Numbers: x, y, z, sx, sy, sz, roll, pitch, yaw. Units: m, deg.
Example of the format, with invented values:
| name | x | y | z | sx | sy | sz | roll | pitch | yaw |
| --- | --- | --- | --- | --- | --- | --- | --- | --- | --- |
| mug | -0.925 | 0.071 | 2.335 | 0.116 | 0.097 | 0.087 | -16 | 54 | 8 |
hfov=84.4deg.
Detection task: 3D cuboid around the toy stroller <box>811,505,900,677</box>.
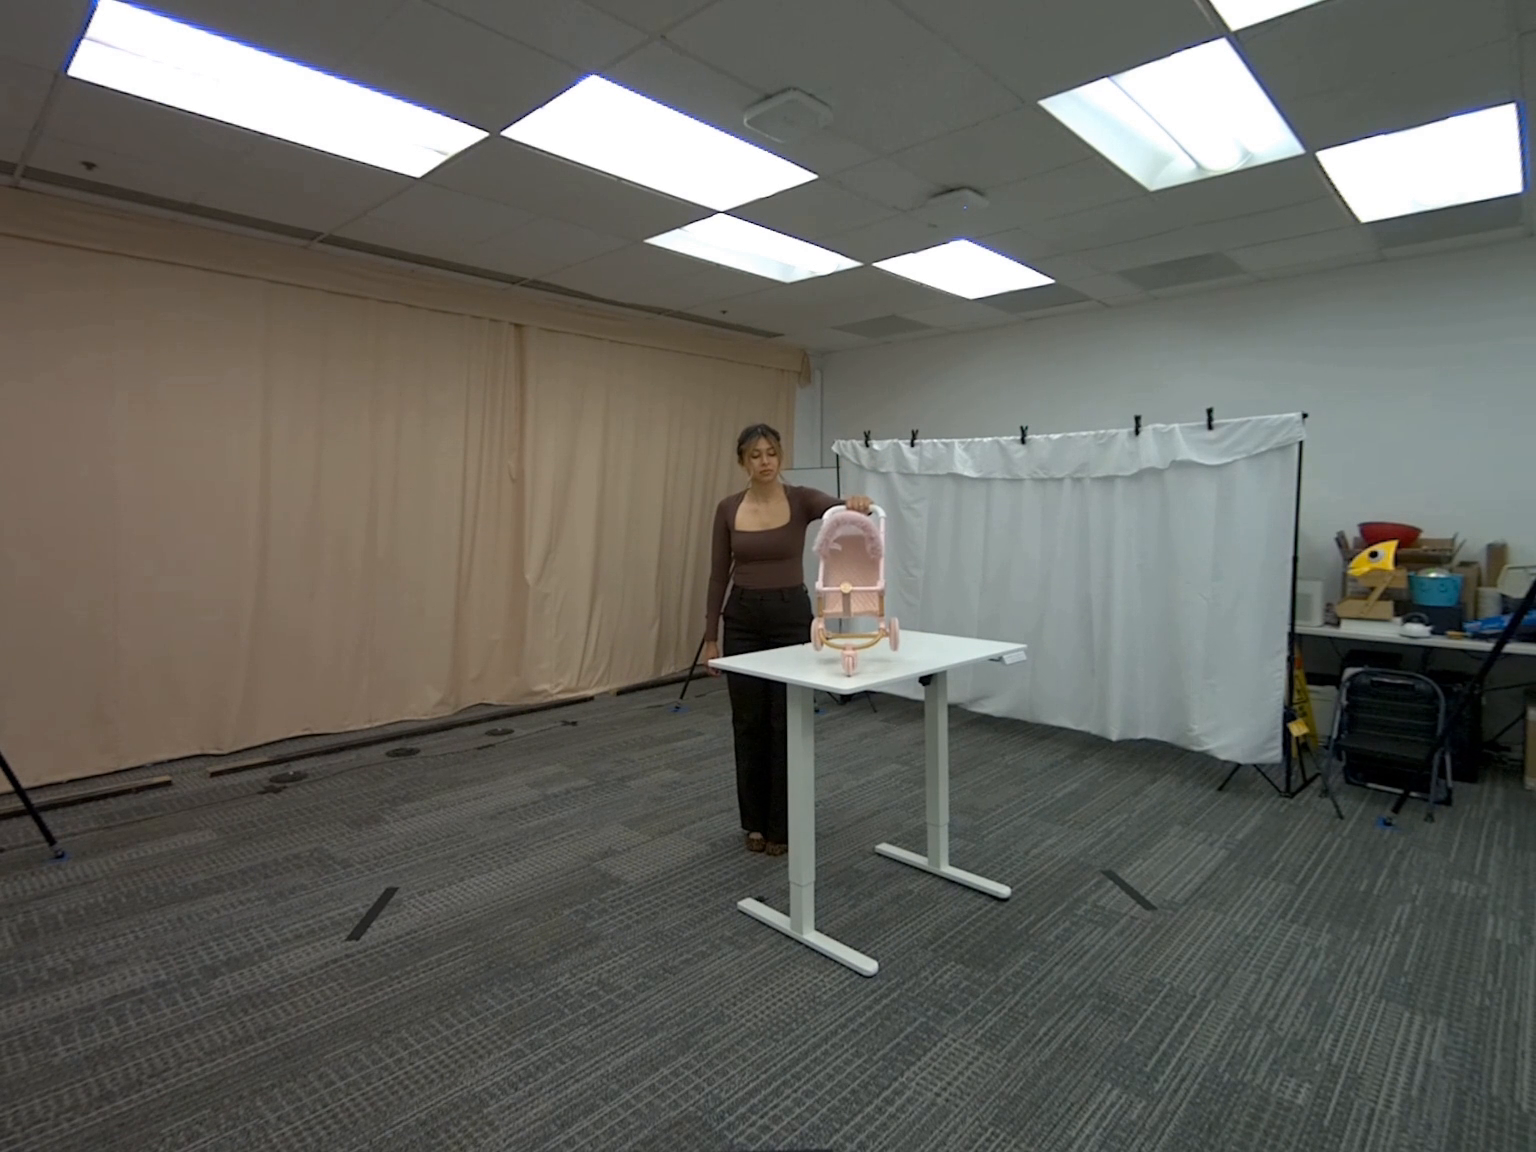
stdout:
| name | x | y | z | sx | sy | sz | roll | pitch | yaw |
| --- | --- | --- | --- | --- | --- | --- | --- | --- | --- |
| toy stroller | 0.268 | 0.042 | 2.653 | 0.286 | 0.536 | 0.335 | -1 | -2 | 16 |
